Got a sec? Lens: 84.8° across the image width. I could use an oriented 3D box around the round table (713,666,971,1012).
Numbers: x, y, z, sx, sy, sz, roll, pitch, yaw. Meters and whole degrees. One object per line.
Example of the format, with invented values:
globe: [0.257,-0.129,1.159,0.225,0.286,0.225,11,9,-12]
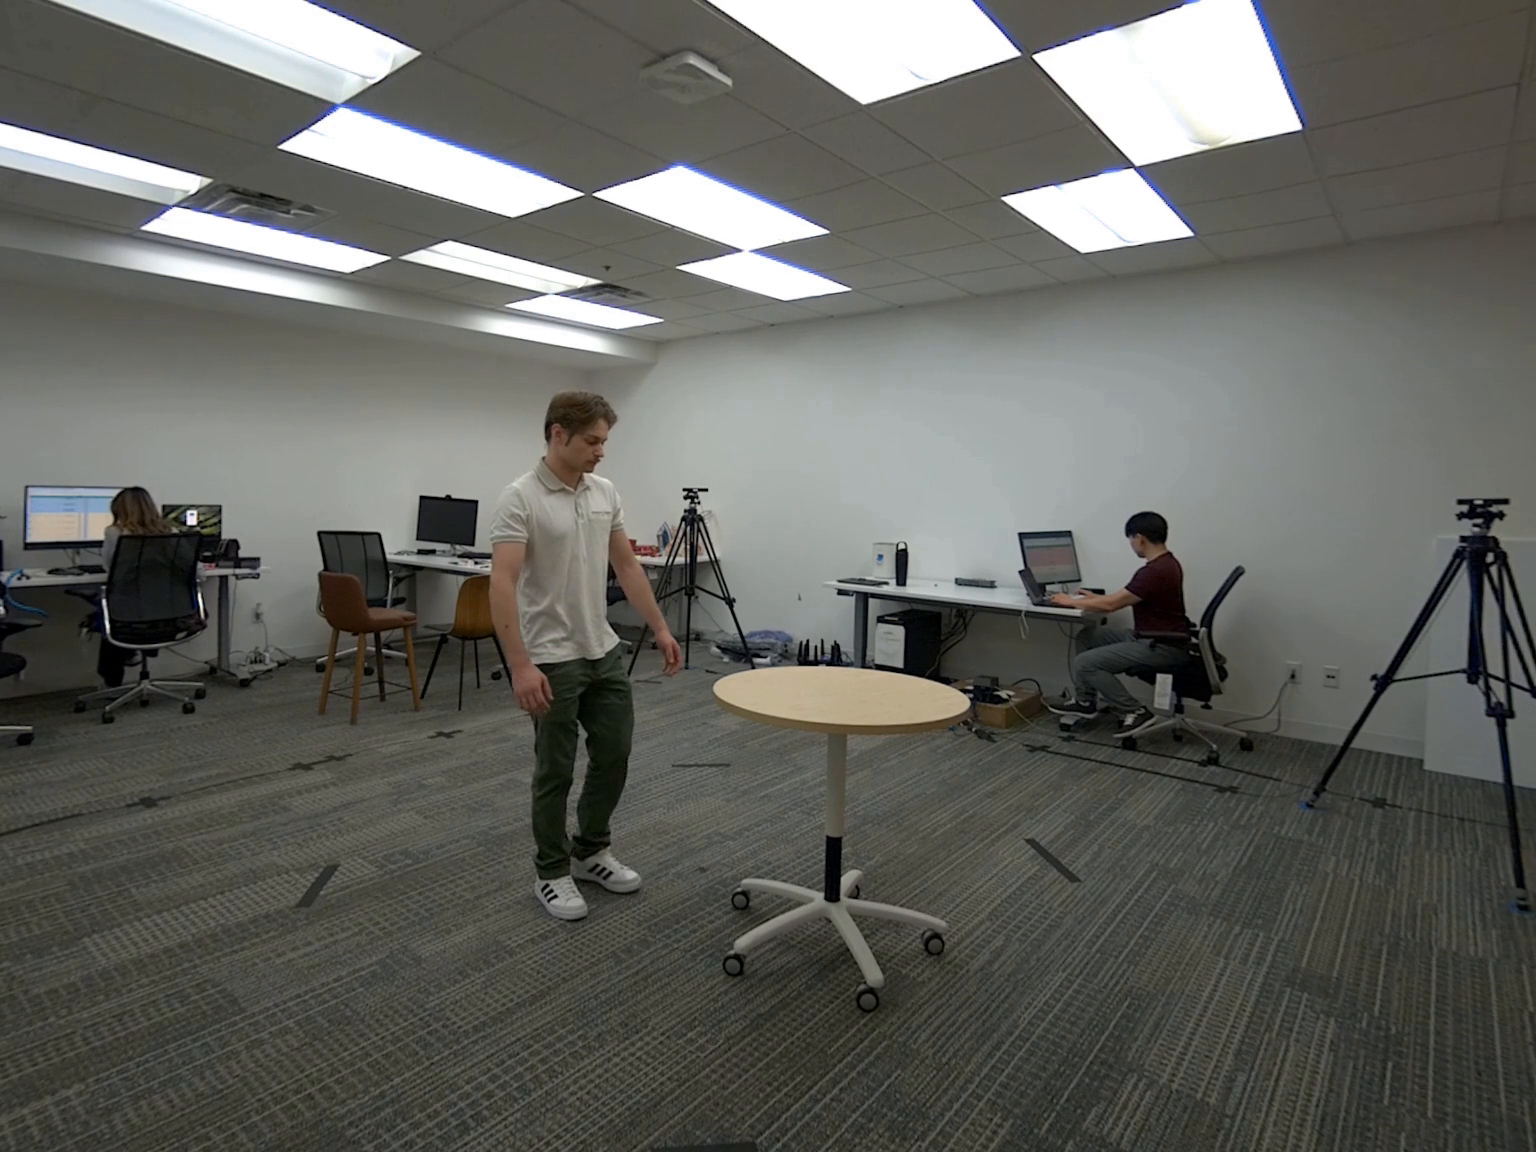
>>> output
round table: [0.178,0.736,2.595,0.784,0.784,0.789,2,4,-2]
